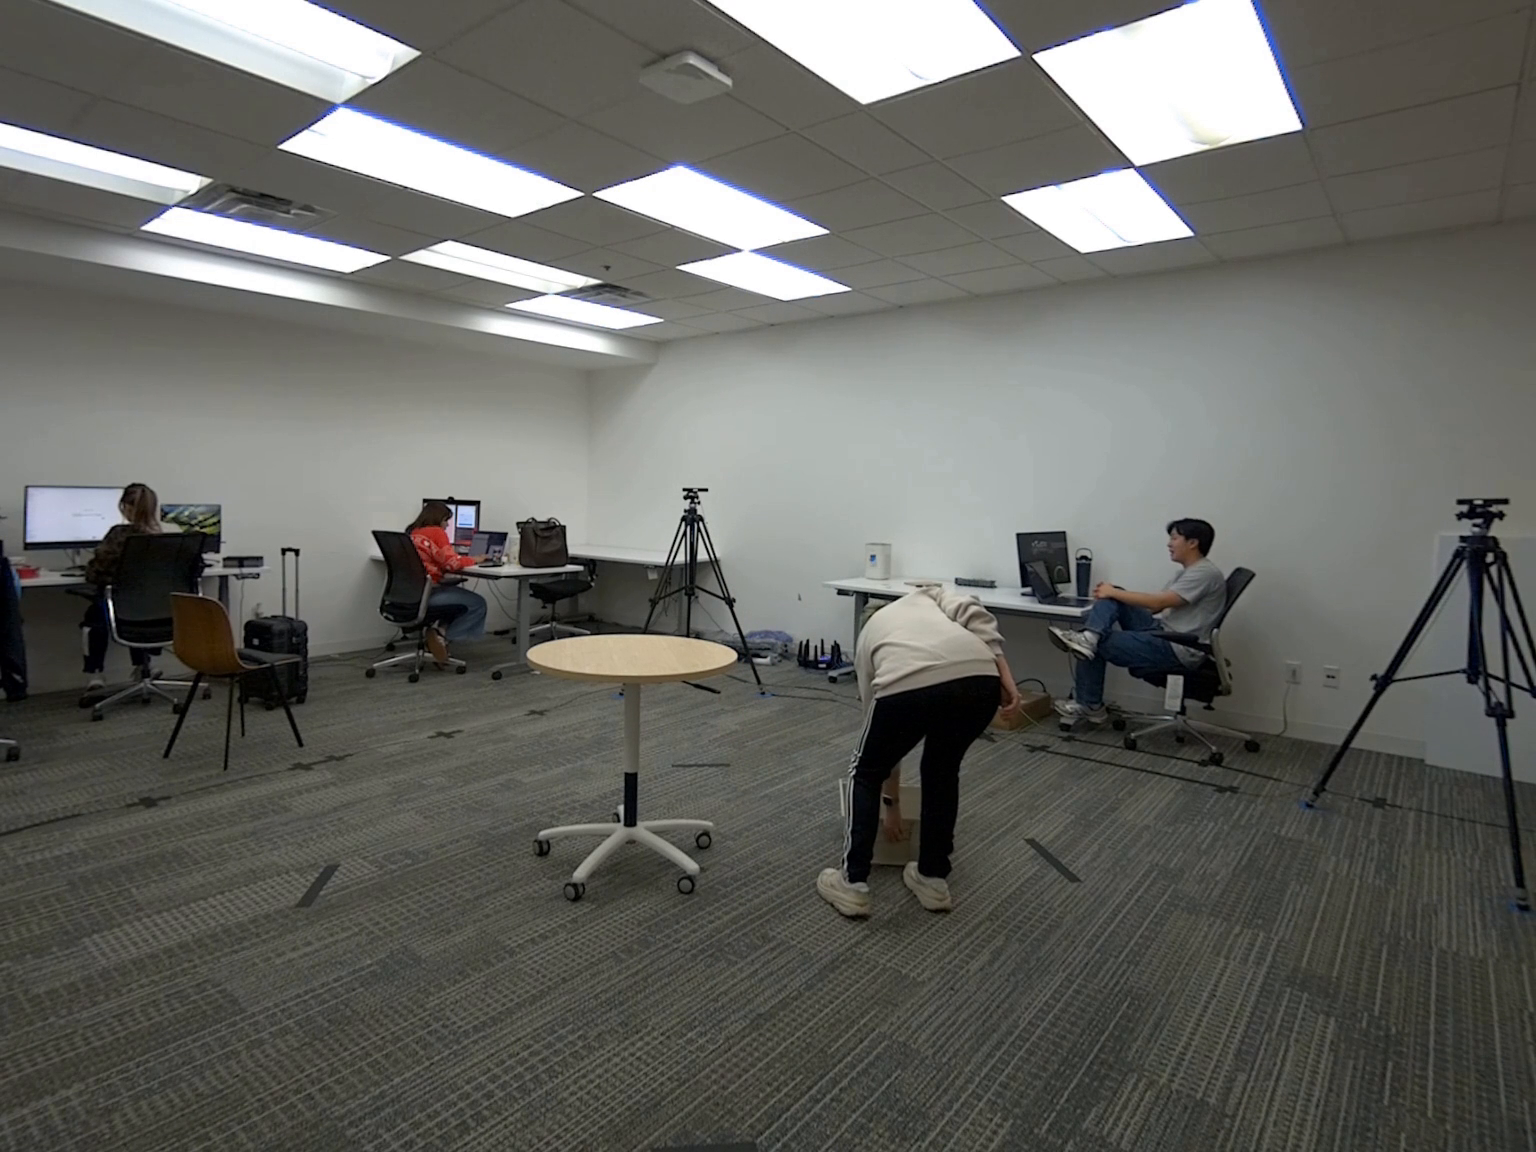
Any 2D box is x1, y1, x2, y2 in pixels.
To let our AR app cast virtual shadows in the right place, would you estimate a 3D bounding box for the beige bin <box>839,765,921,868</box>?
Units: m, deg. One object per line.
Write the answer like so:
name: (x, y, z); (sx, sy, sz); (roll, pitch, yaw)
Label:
beige bin: (0.472, 0.955, 3.369); (0.380, 0.188, 0.421); (-1, 5, 5)
